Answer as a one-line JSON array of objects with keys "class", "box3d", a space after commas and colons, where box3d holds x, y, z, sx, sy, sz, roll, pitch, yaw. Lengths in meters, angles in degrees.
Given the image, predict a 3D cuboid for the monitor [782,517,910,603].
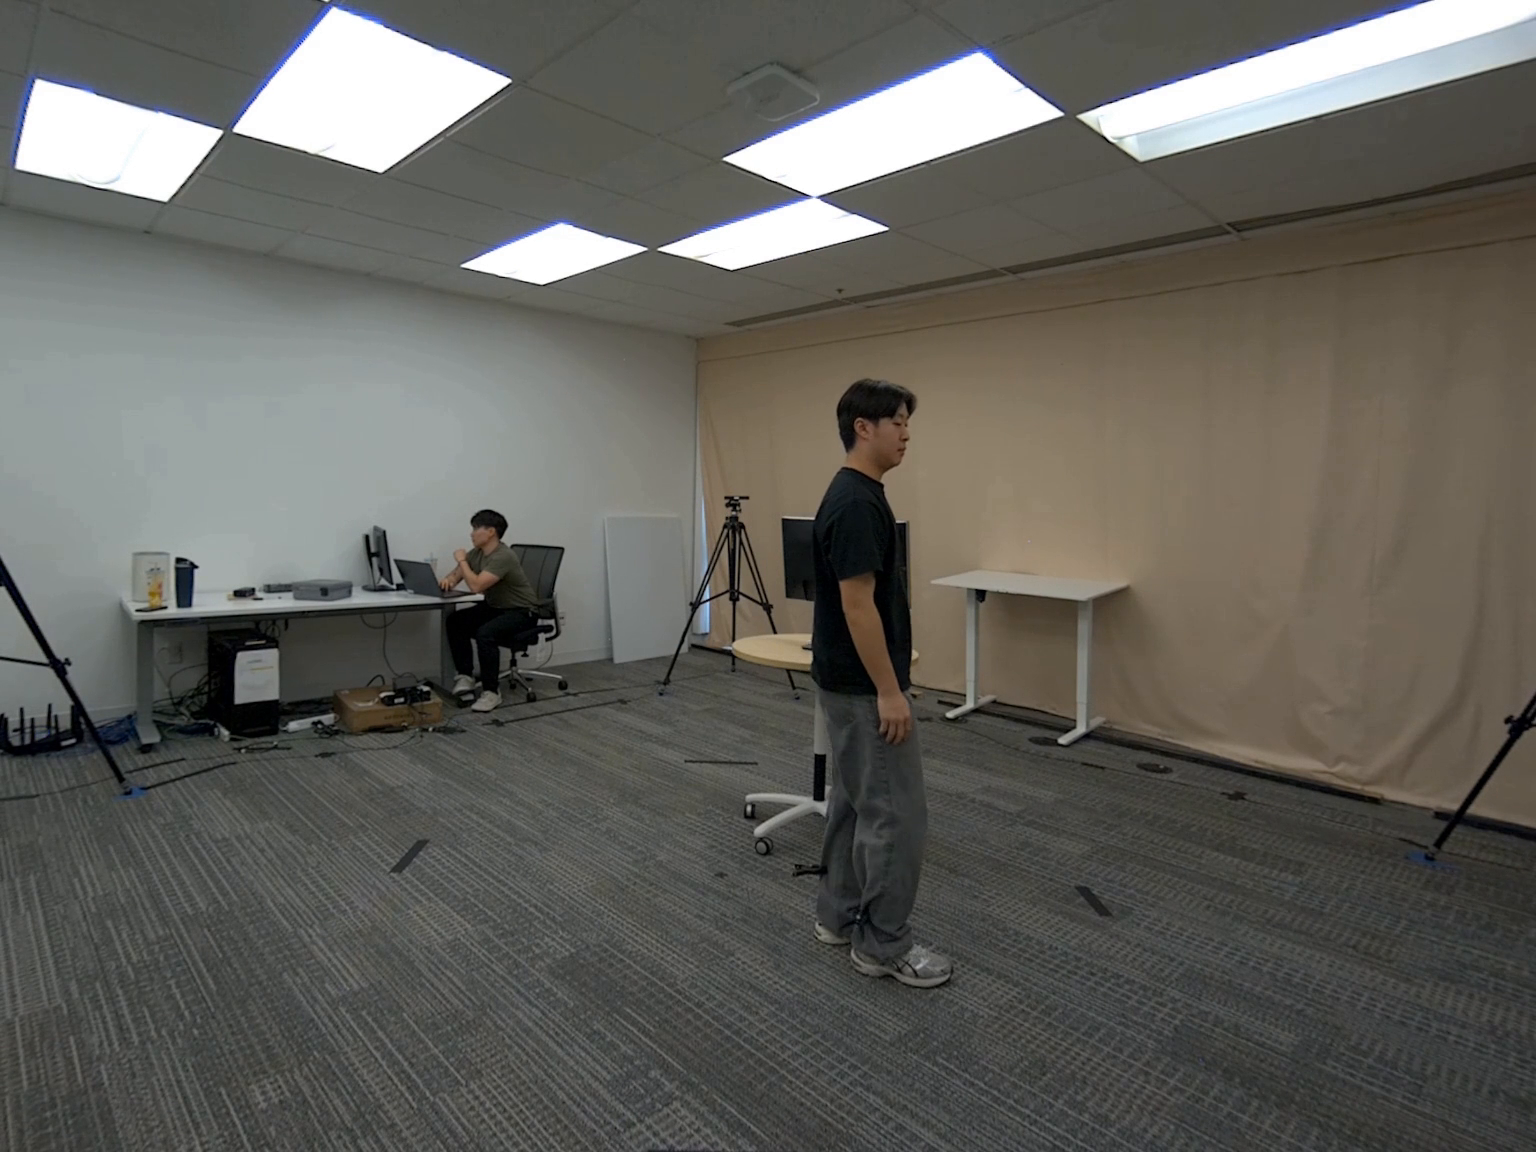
[{"class": "monitor", "box3d": [0.295, 0.047, 3.459, 0.575, 0.566, 0.217, 4, 0, 33]}]
